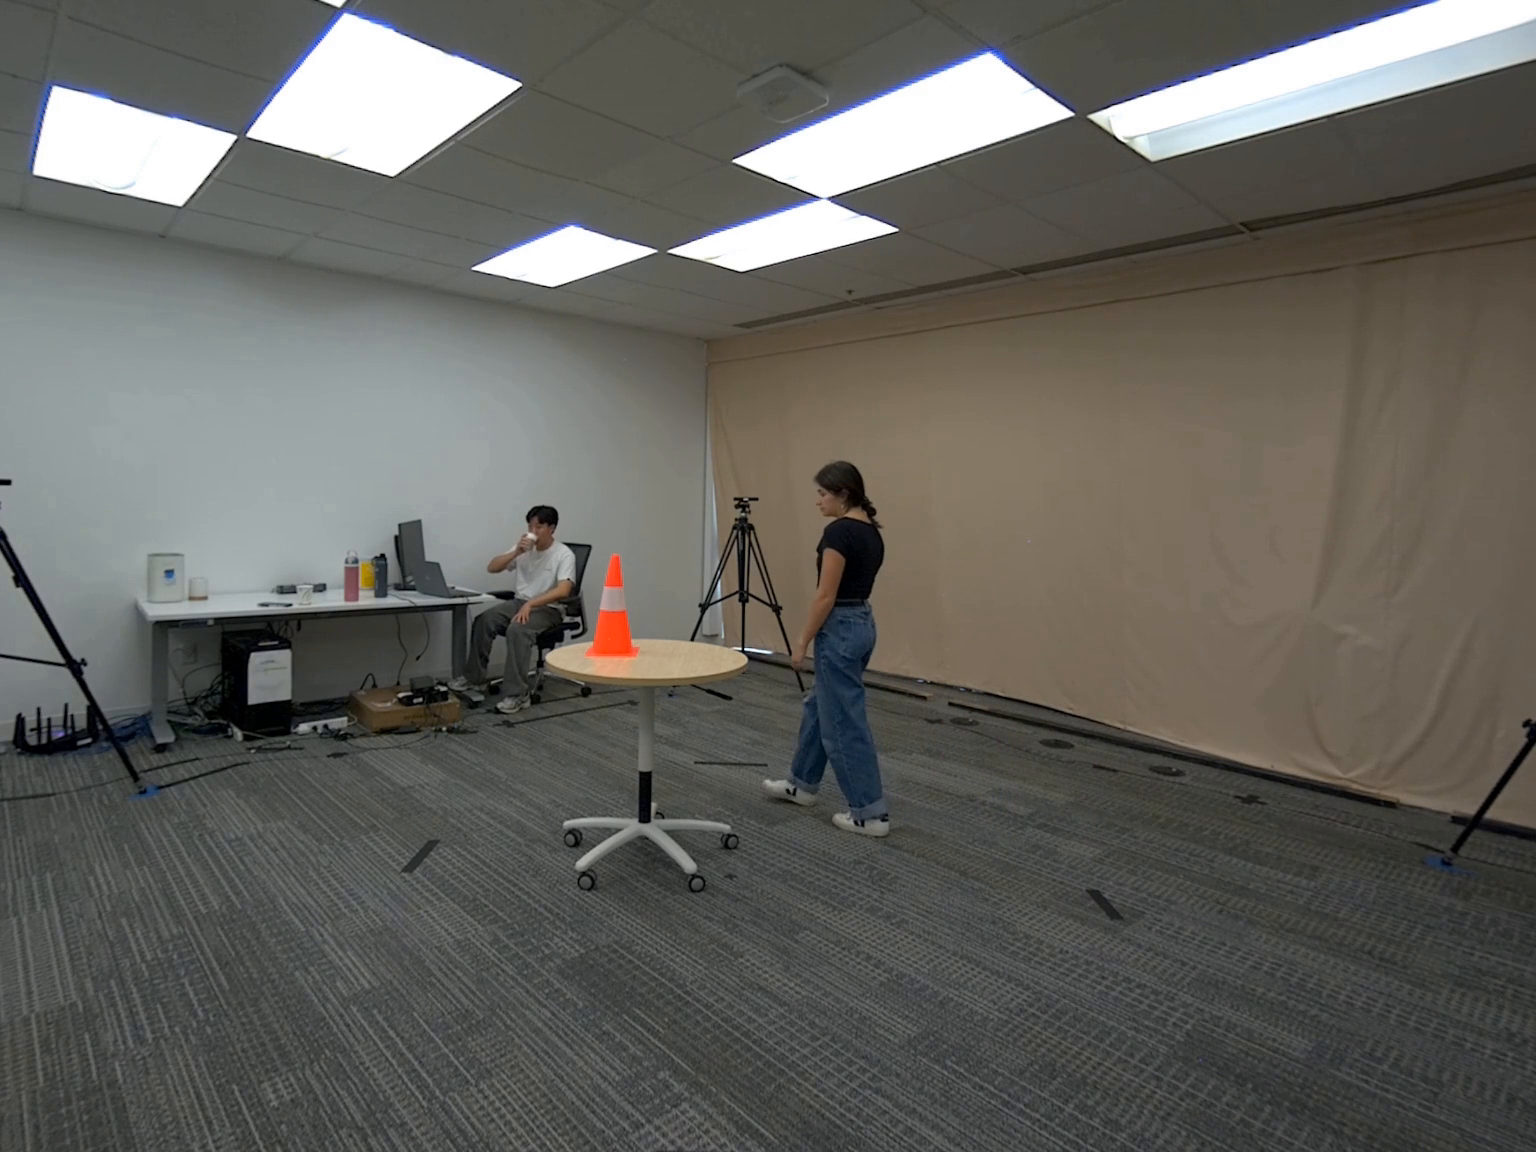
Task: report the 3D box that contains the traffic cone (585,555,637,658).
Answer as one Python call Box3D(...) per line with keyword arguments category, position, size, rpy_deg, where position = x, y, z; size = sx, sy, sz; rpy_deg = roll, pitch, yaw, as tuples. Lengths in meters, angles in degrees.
Box3D(category="traffic cone", position=(-0.609, 0.115, 3.270), size=(0.203, 0.383, 0.205), rpy_deg=(3, 3, -11))
